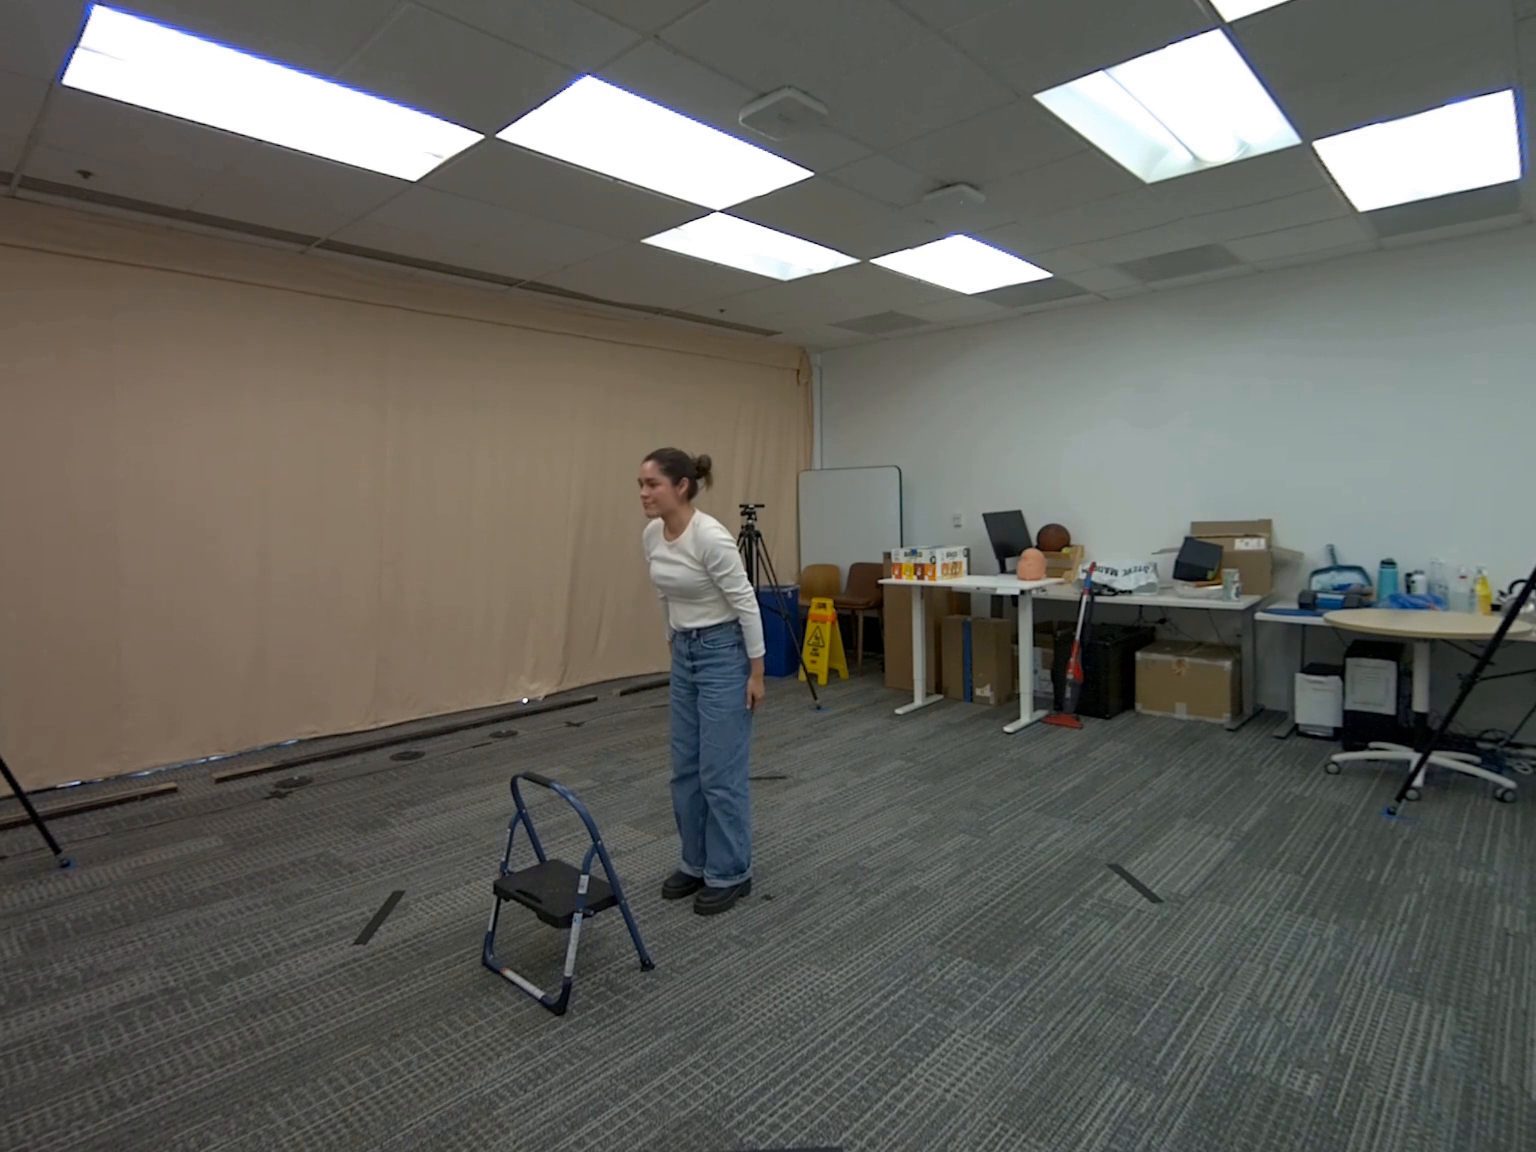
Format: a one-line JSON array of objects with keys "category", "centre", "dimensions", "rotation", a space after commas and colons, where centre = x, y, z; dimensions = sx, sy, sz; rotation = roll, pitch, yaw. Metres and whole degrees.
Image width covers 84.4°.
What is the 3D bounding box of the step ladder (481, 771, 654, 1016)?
[{"category": "step ladder", "centre": [-0.621, 0.889, 2.551], "dimensions": [0.445, 0.605, 0.339], "rotation": [1, 4, 41]}]
